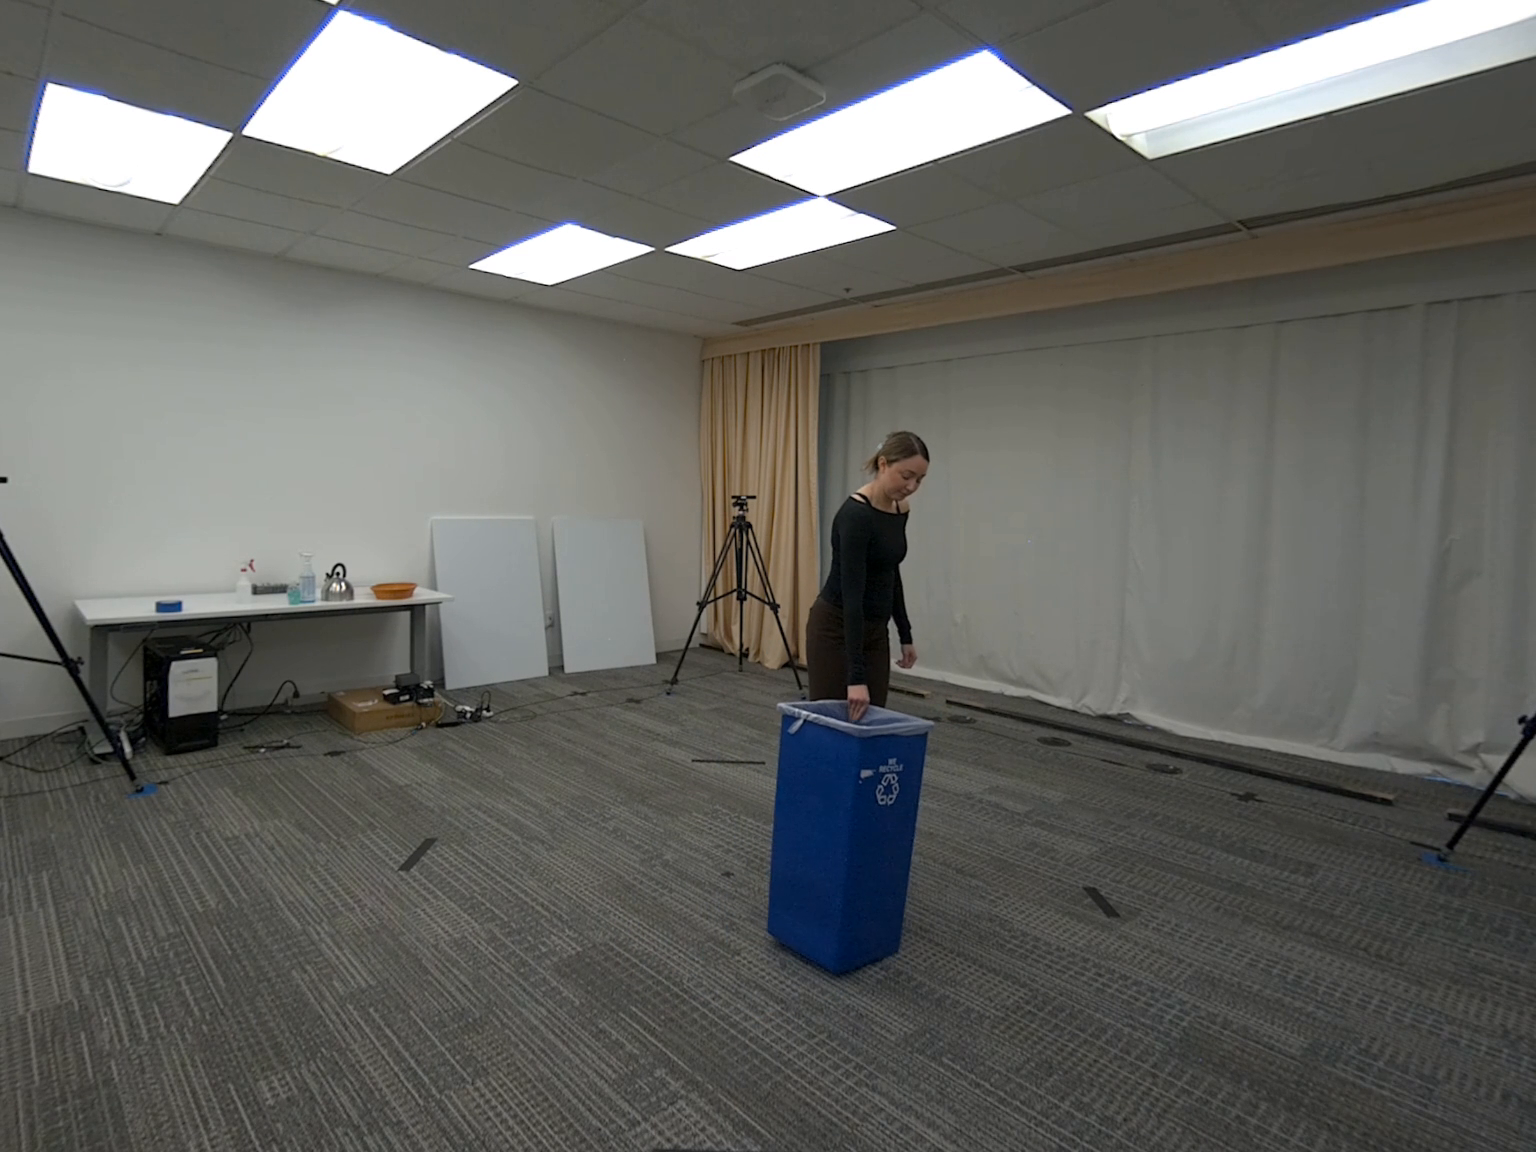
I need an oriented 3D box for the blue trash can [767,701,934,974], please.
[{"bbox_3d":[0.237,0.785,2.627,0.364,0.714,0.388,6,-1,-43],"label":"blue trash can"}]
